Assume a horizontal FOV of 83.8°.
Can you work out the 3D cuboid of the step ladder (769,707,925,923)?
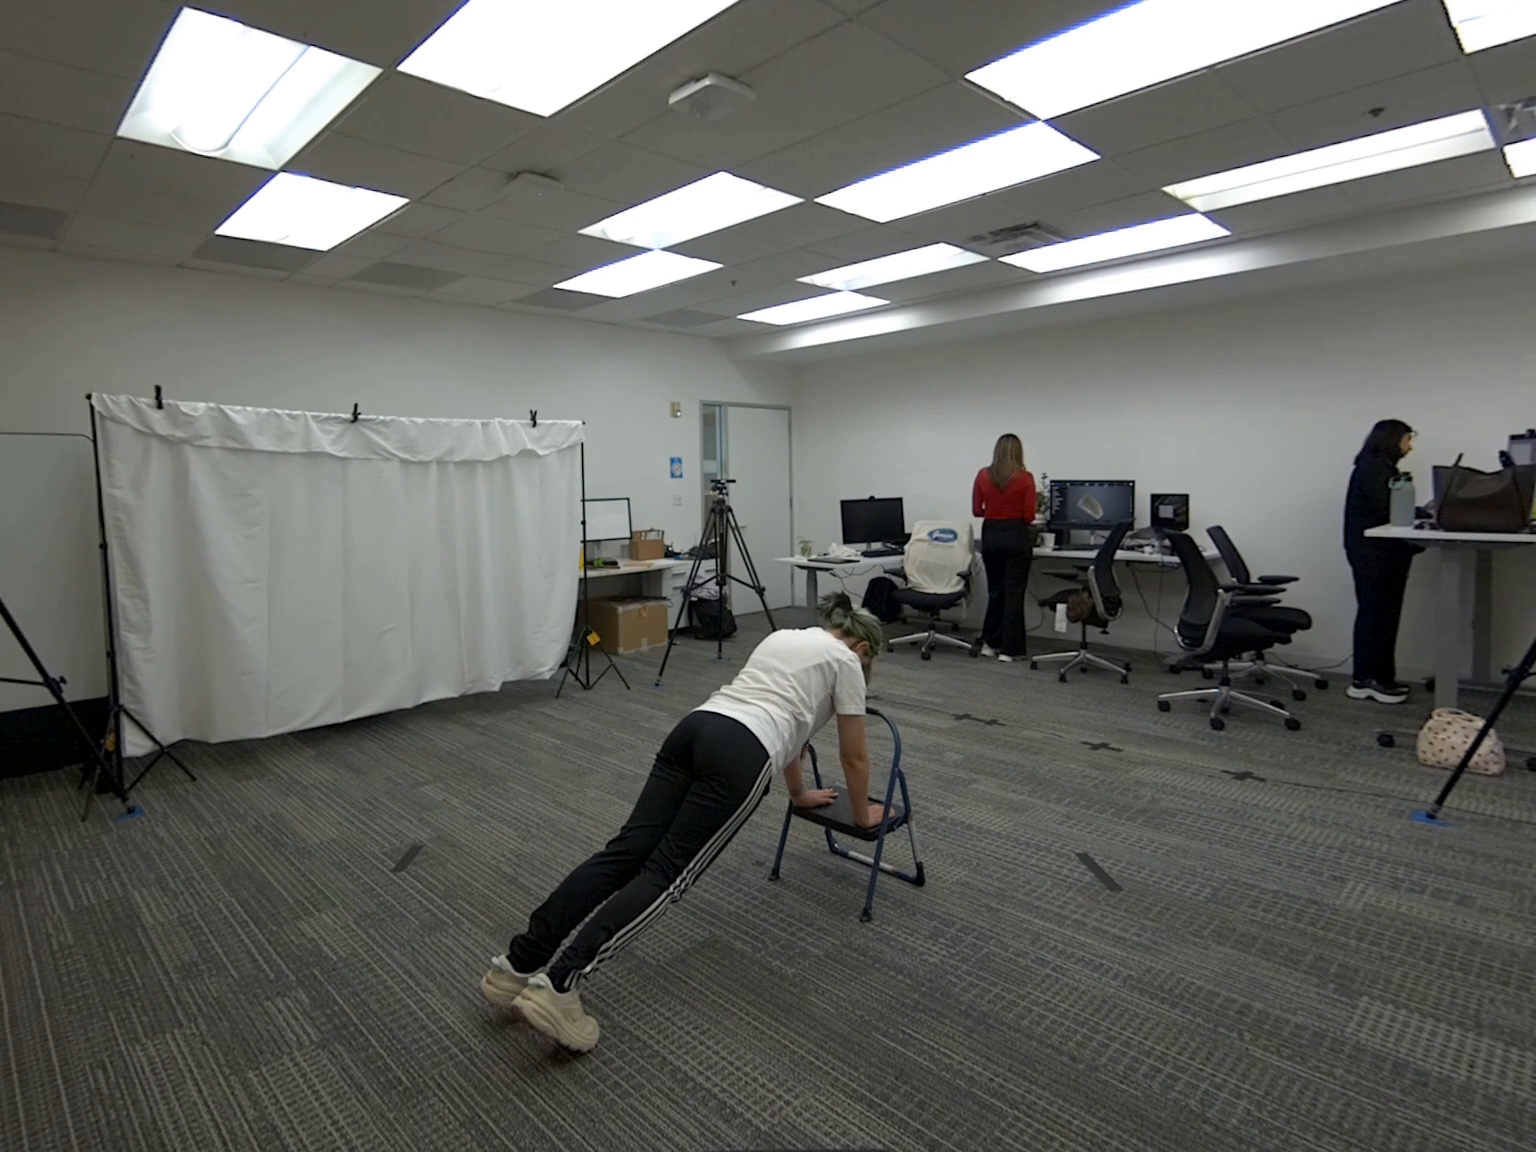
[{"bbox_3d":[0.271,0.758,2.939,0.444,0.604,0.340,3,6,45],"label":"step ladder"}]
